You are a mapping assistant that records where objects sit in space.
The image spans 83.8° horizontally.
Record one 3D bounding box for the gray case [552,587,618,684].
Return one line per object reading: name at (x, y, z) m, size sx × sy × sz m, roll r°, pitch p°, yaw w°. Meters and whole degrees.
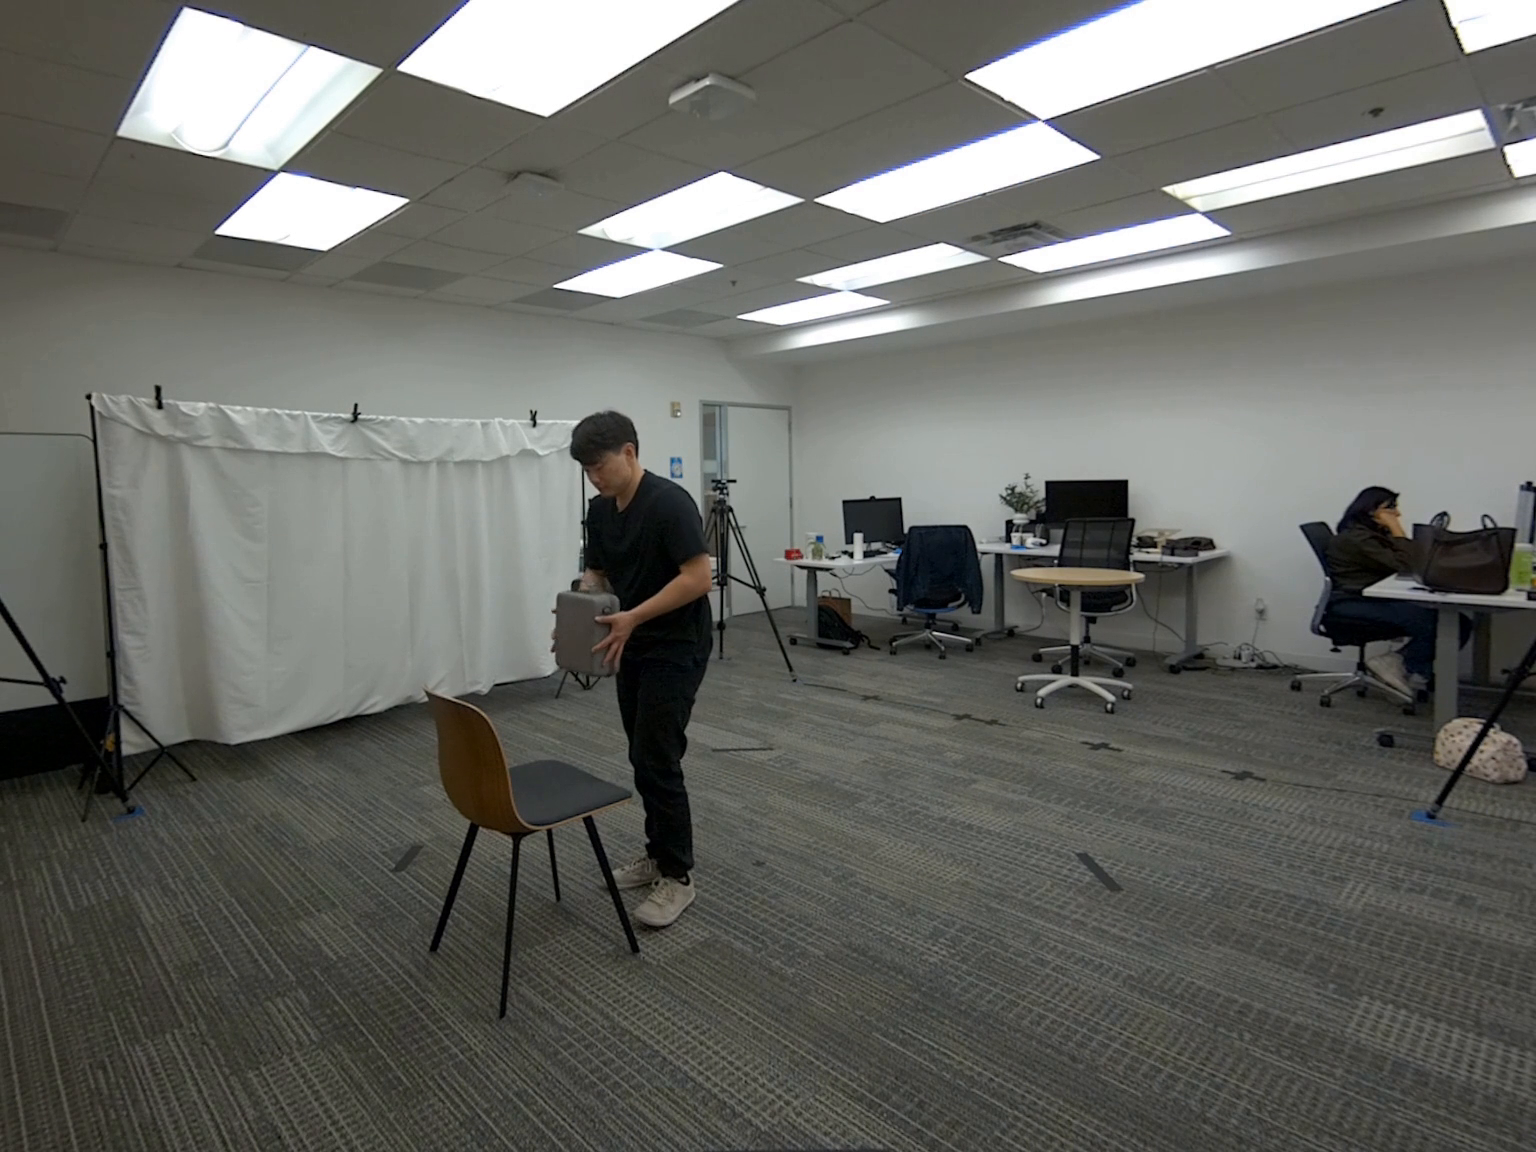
gray case at (-0.575, 0.178, 2.681) m, size 0.101 × 0.260 × 0.264 m, roll -2°, pitch 3°, yaw -35°
